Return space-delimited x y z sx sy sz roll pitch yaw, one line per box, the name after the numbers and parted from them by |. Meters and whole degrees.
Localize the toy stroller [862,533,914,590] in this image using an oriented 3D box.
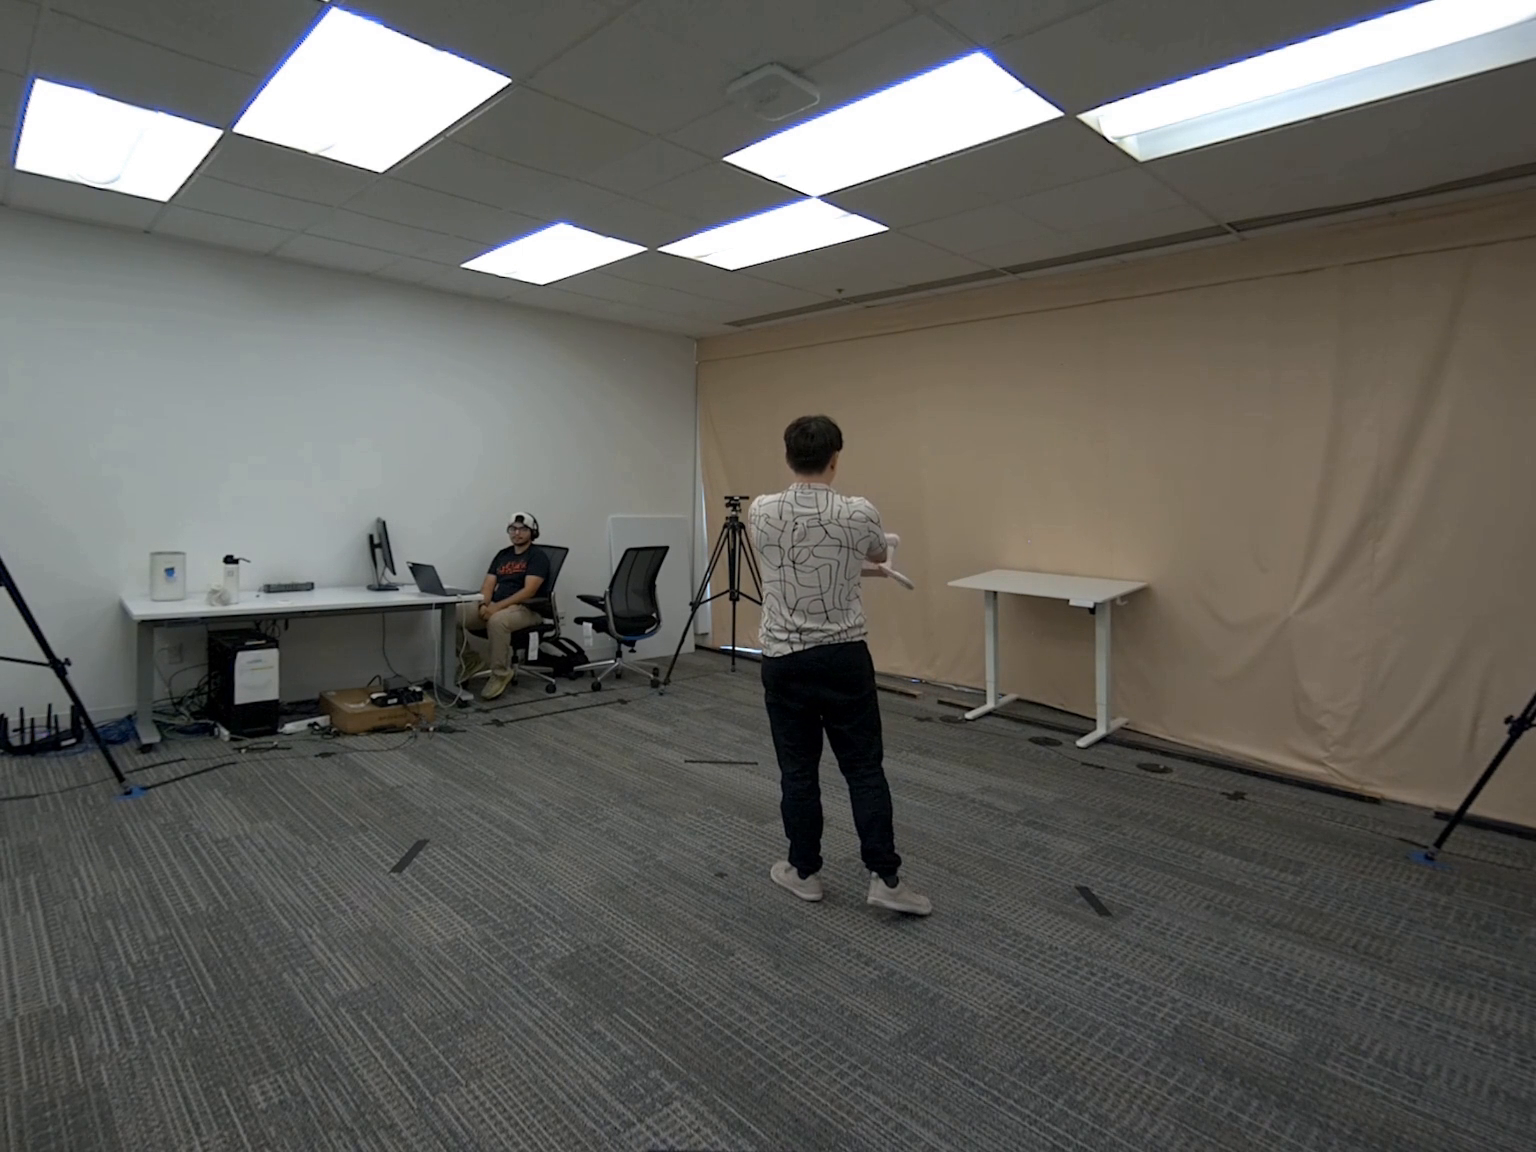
0.301 -0.070 3.460 0.541 0.346 0.274 -10 -16 20 | toy stroller
